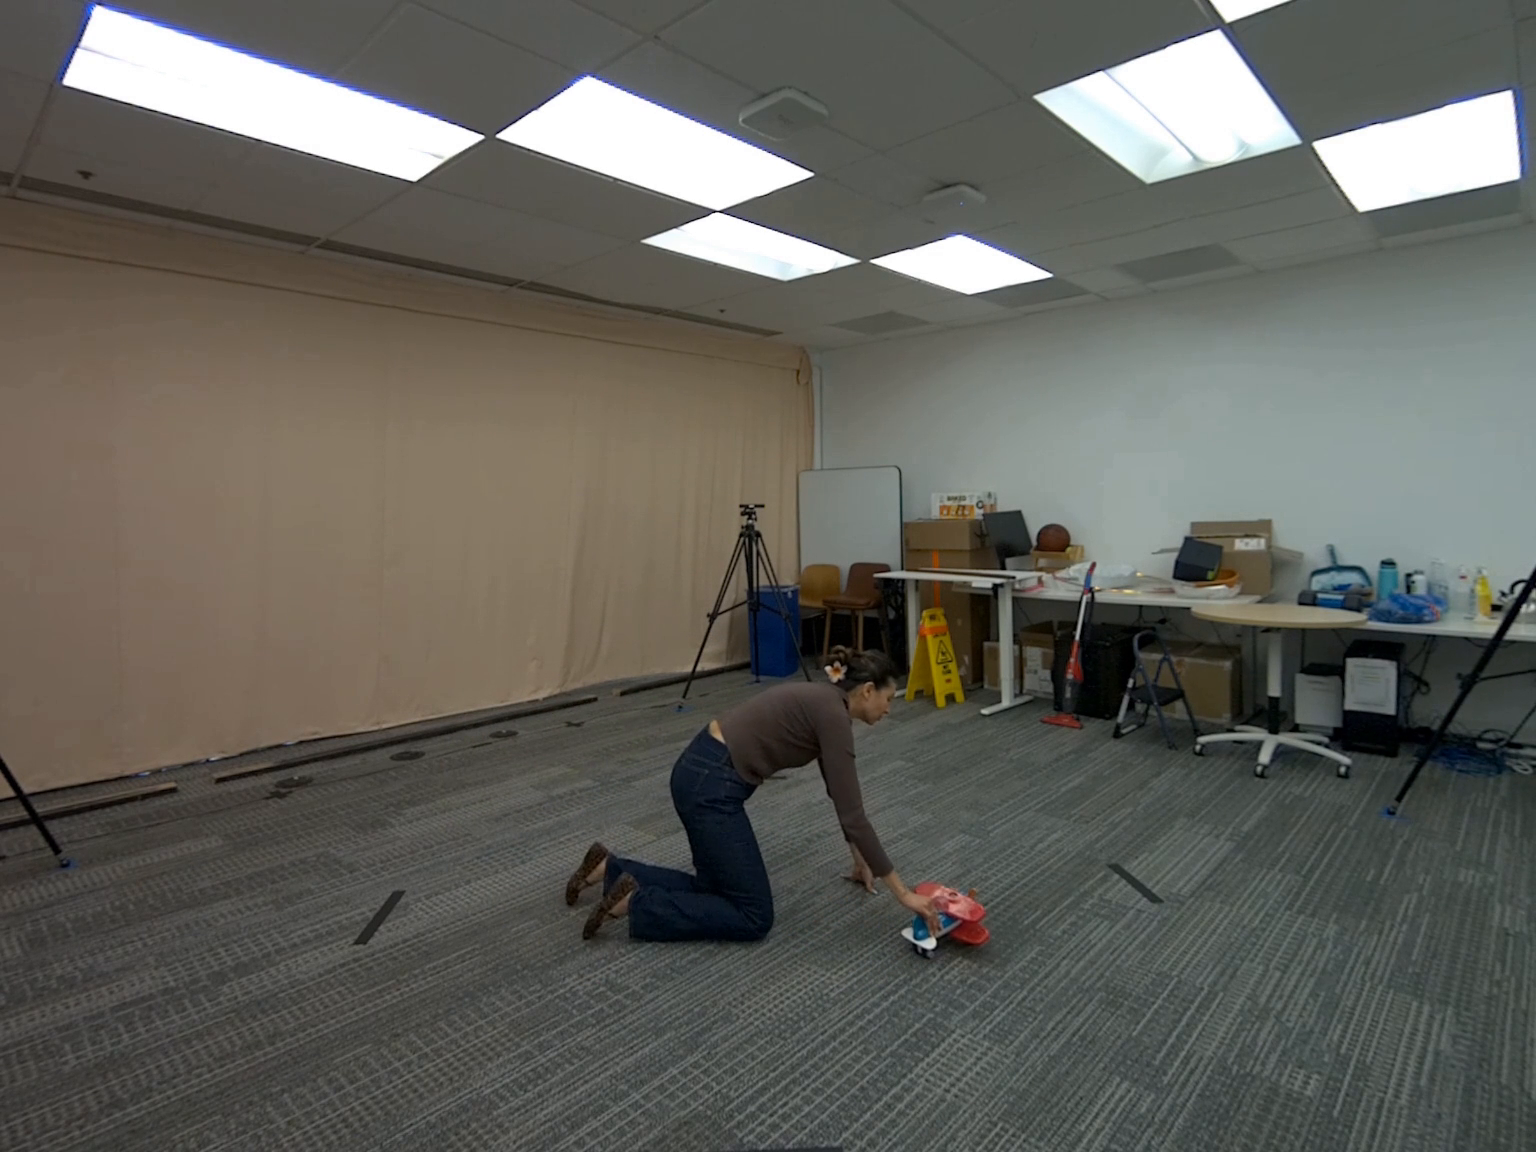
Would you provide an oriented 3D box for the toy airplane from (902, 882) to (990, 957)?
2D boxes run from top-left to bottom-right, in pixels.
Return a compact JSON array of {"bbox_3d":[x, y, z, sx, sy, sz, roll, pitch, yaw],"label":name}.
[{"bbox_3d":[0.566,1.089,2.616,0.258,0.156,0.253,2,3,26],"label":"toy airplane"}]
